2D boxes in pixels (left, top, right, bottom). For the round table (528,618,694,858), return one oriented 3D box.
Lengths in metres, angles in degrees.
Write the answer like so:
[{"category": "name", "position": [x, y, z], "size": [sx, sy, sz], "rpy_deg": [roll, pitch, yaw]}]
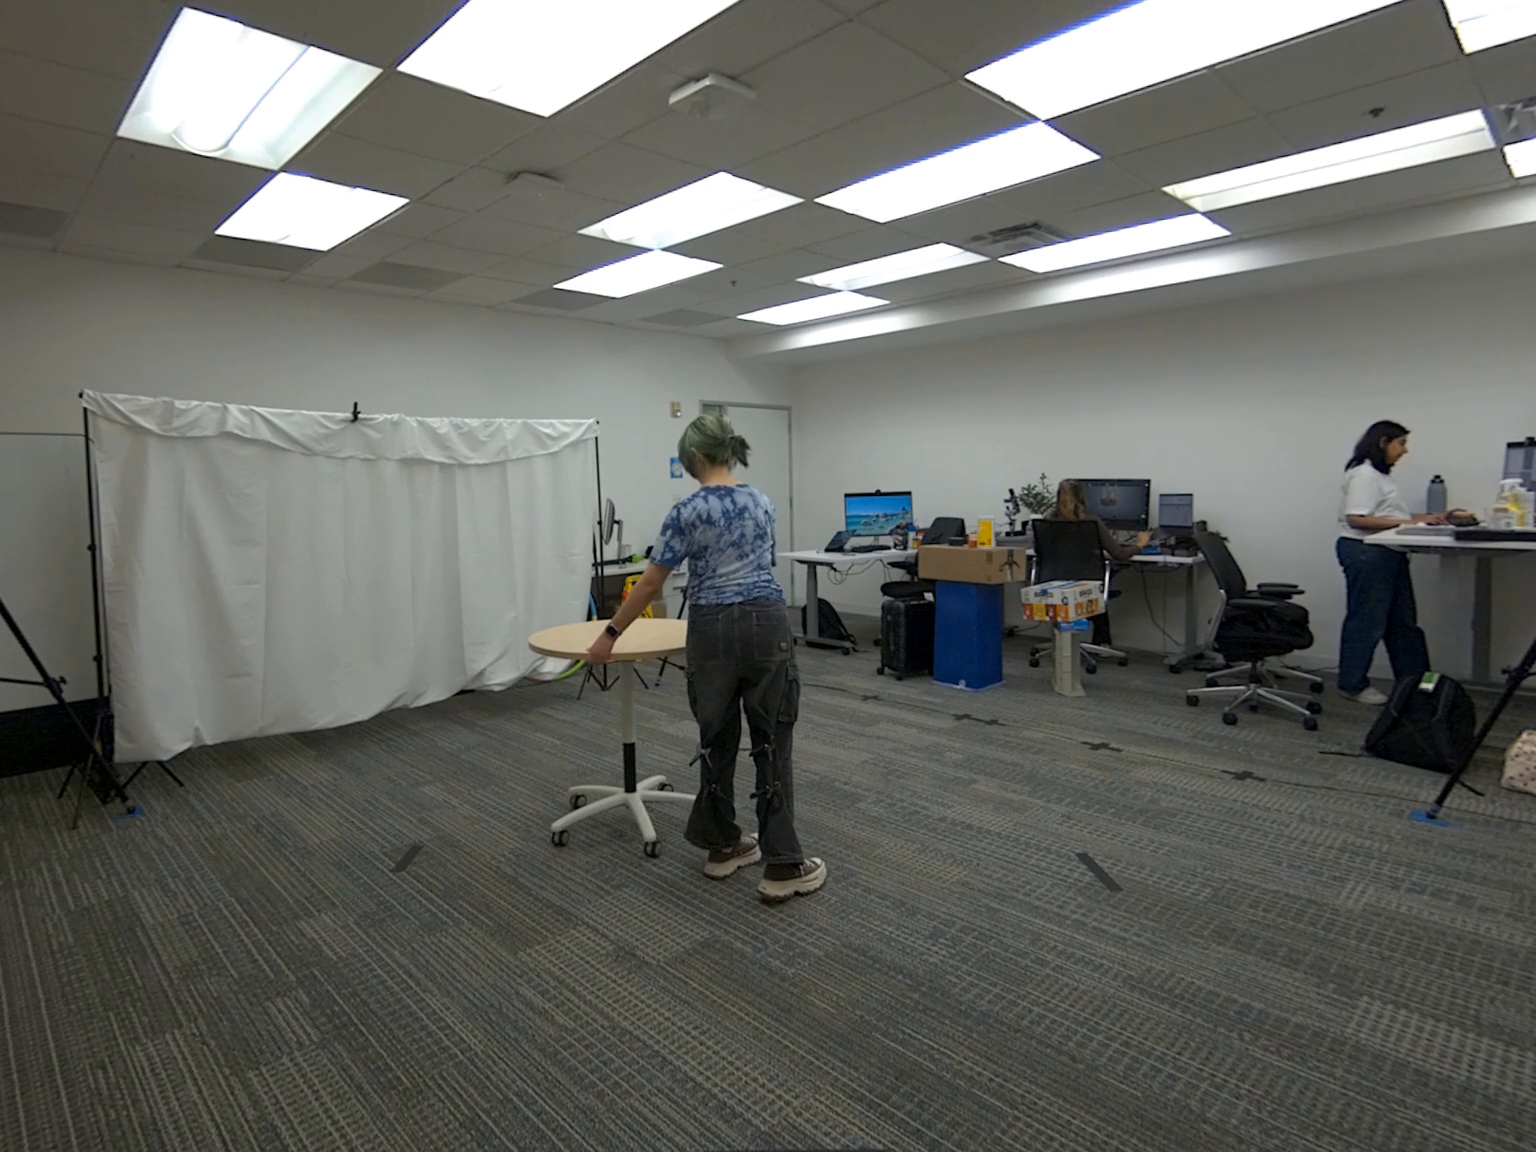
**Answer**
[{"category": "round table", "position": [-0.554, 0.626, 3.458], "size": [0.763, 0.791, 0.768], "rpy_deg": [-2, 5, -2]}]
